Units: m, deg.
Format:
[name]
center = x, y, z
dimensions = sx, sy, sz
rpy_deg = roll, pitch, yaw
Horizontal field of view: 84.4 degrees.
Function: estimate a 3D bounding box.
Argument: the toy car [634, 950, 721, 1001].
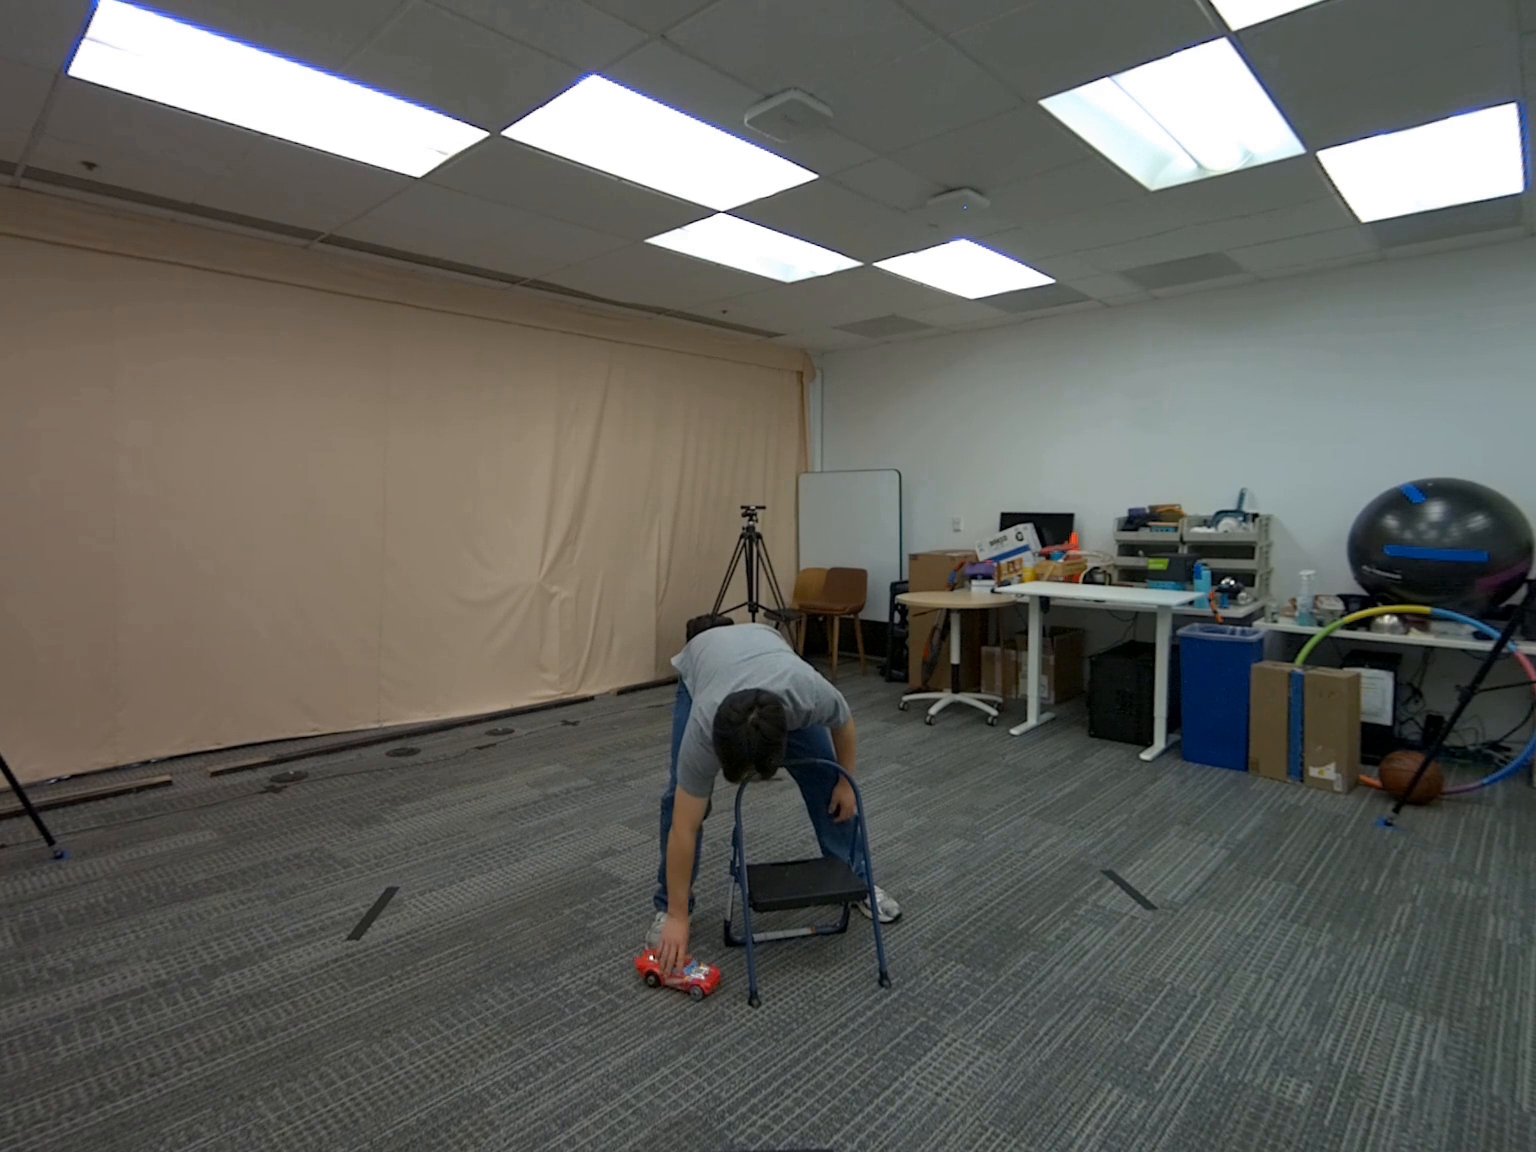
[toy car]
center = -0.264, 1.165, 2.458
dimensions = 0.261, 0.083, 0.128
rpy_deg = 12, 12, 21
